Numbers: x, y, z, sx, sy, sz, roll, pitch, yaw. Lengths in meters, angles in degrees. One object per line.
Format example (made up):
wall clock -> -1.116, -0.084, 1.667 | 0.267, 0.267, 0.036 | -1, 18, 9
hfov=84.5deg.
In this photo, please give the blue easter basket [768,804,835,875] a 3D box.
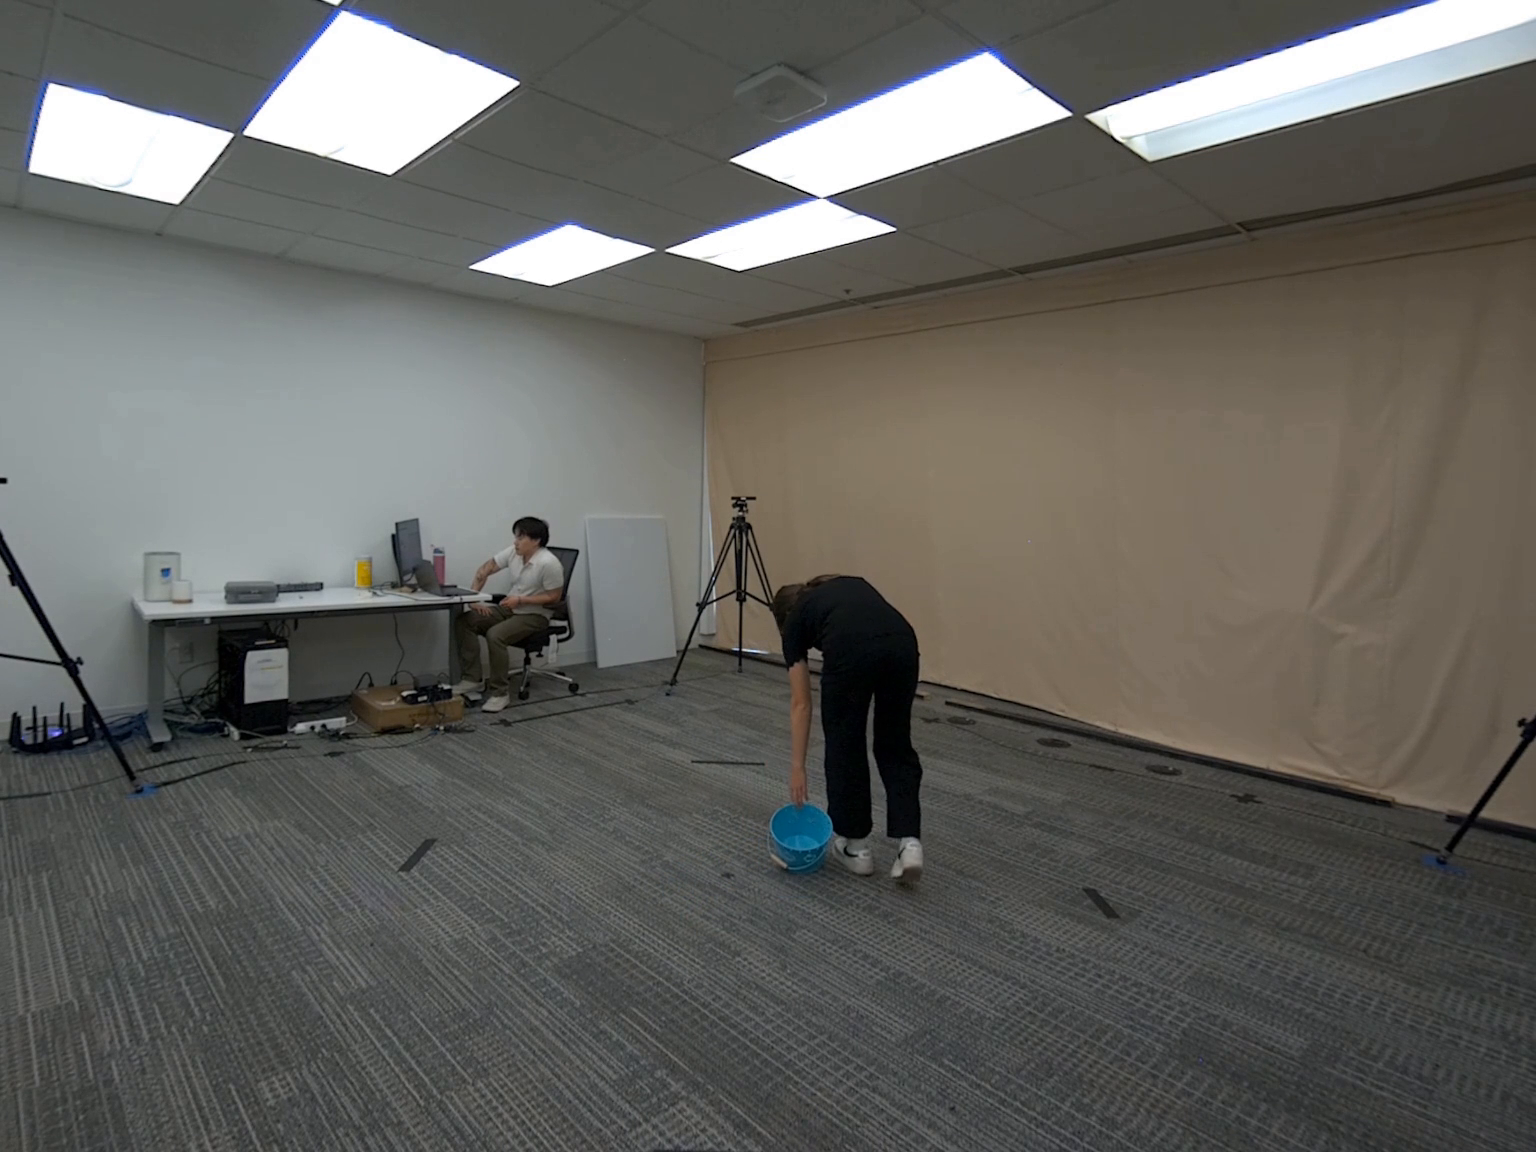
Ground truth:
blue easter basket -> 0.116, 0.996, 3.171 | 0.243, 0.153, 0.248 | -1, 28, -1
